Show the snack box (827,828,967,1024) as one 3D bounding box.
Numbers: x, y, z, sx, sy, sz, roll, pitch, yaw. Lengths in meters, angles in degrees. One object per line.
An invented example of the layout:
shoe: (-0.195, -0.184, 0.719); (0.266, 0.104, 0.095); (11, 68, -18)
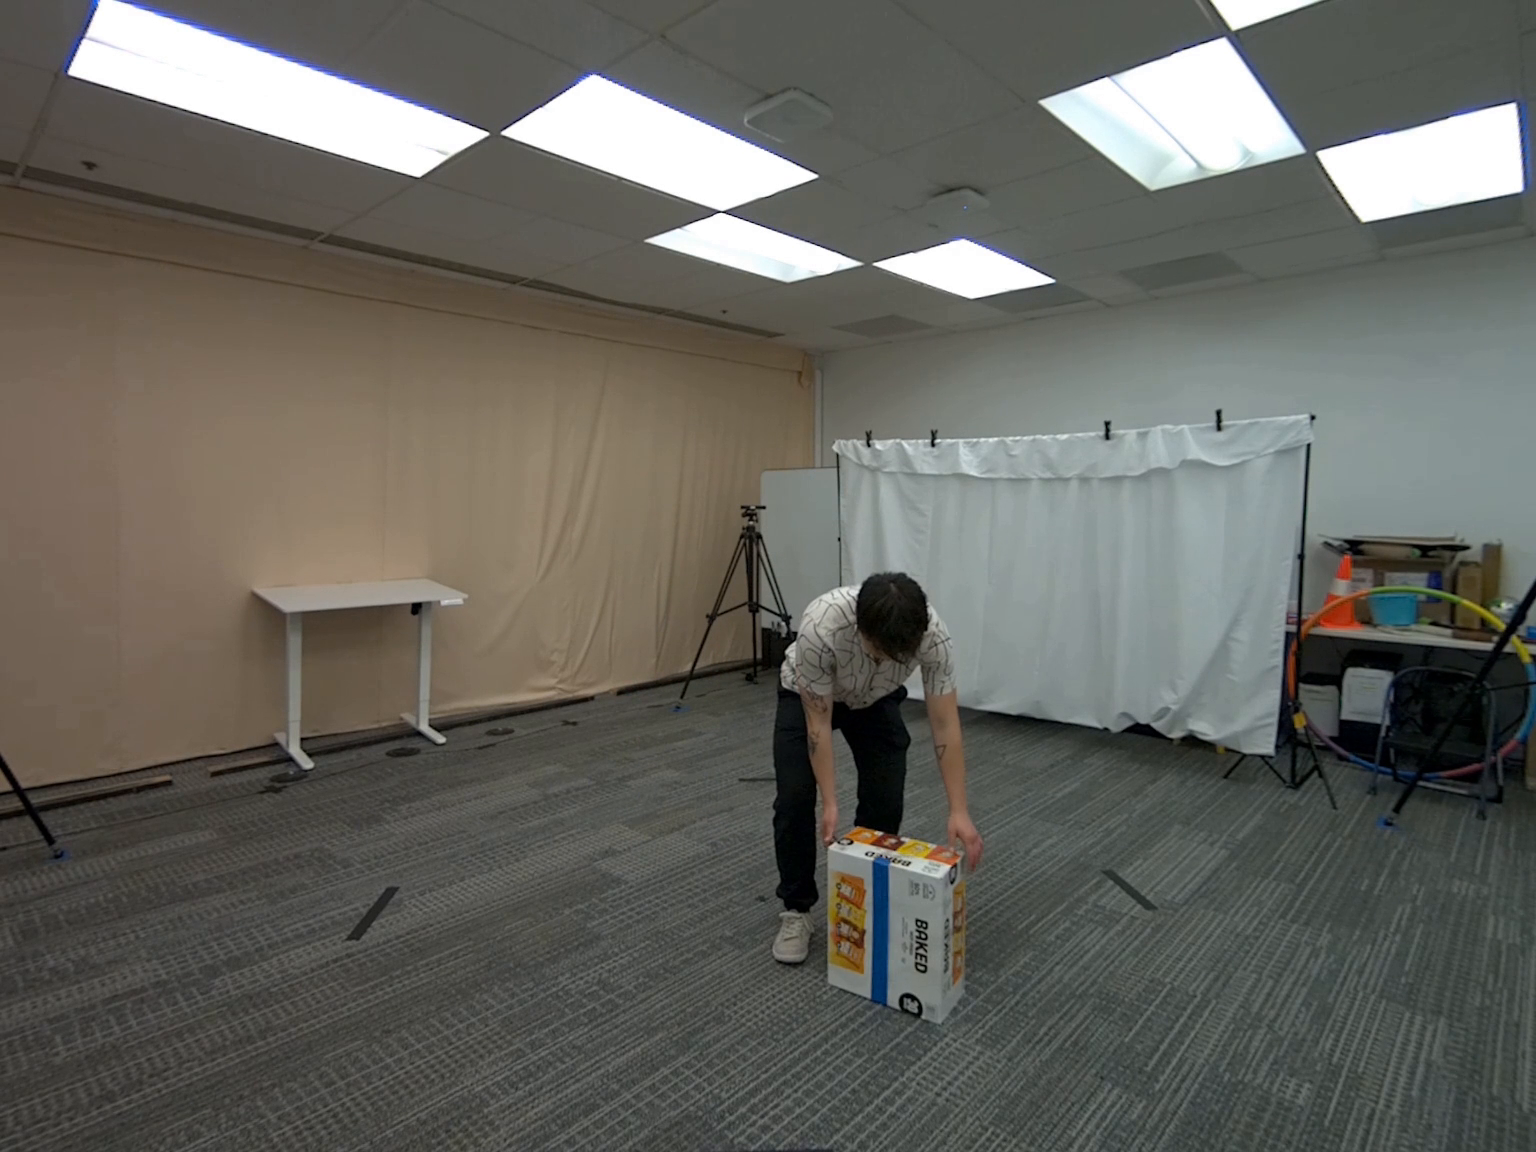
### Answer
snack box: (0.379, 0.988, 2.414); (0.351, 0.404, 0.200); (1, 3, 34)
